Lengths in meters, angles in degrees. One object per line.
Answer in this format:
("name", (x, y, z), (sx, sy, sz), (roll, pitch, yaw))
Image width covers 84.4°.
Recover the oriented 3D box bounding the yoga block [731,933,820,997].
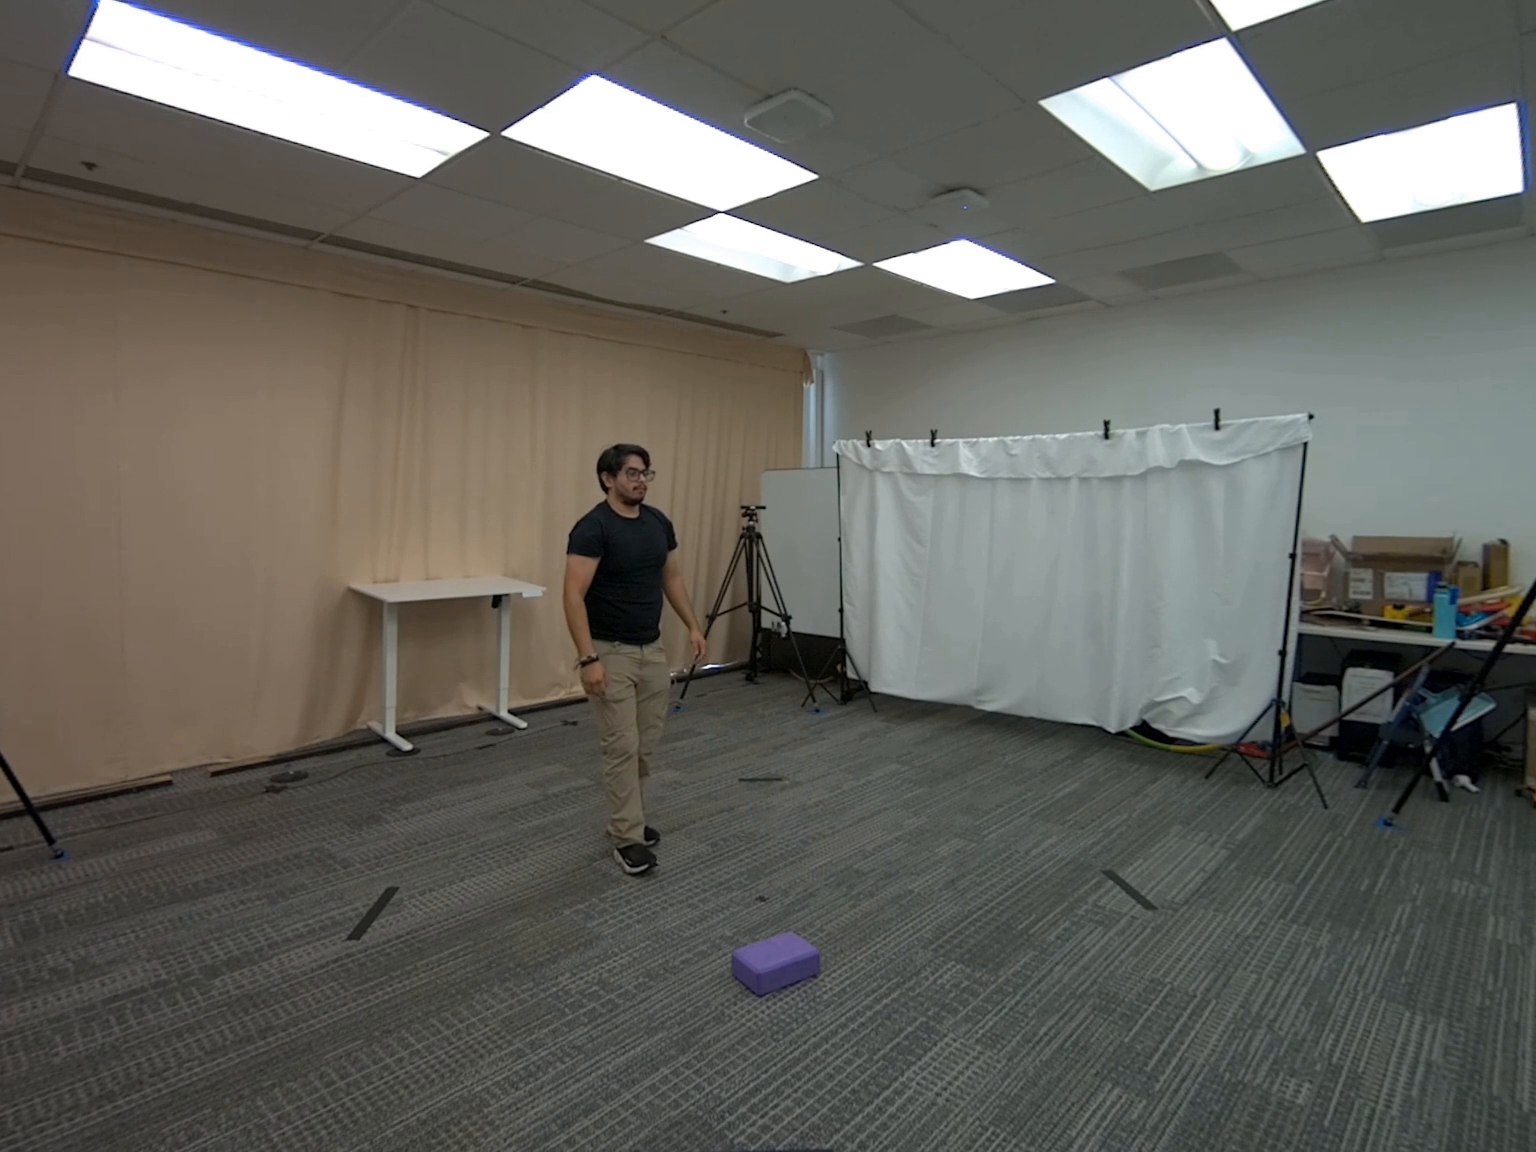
("yoga block", (0.028, 1.143, 2.492), (0.223, 0.076, 0.153), (-3, 5, -33))
